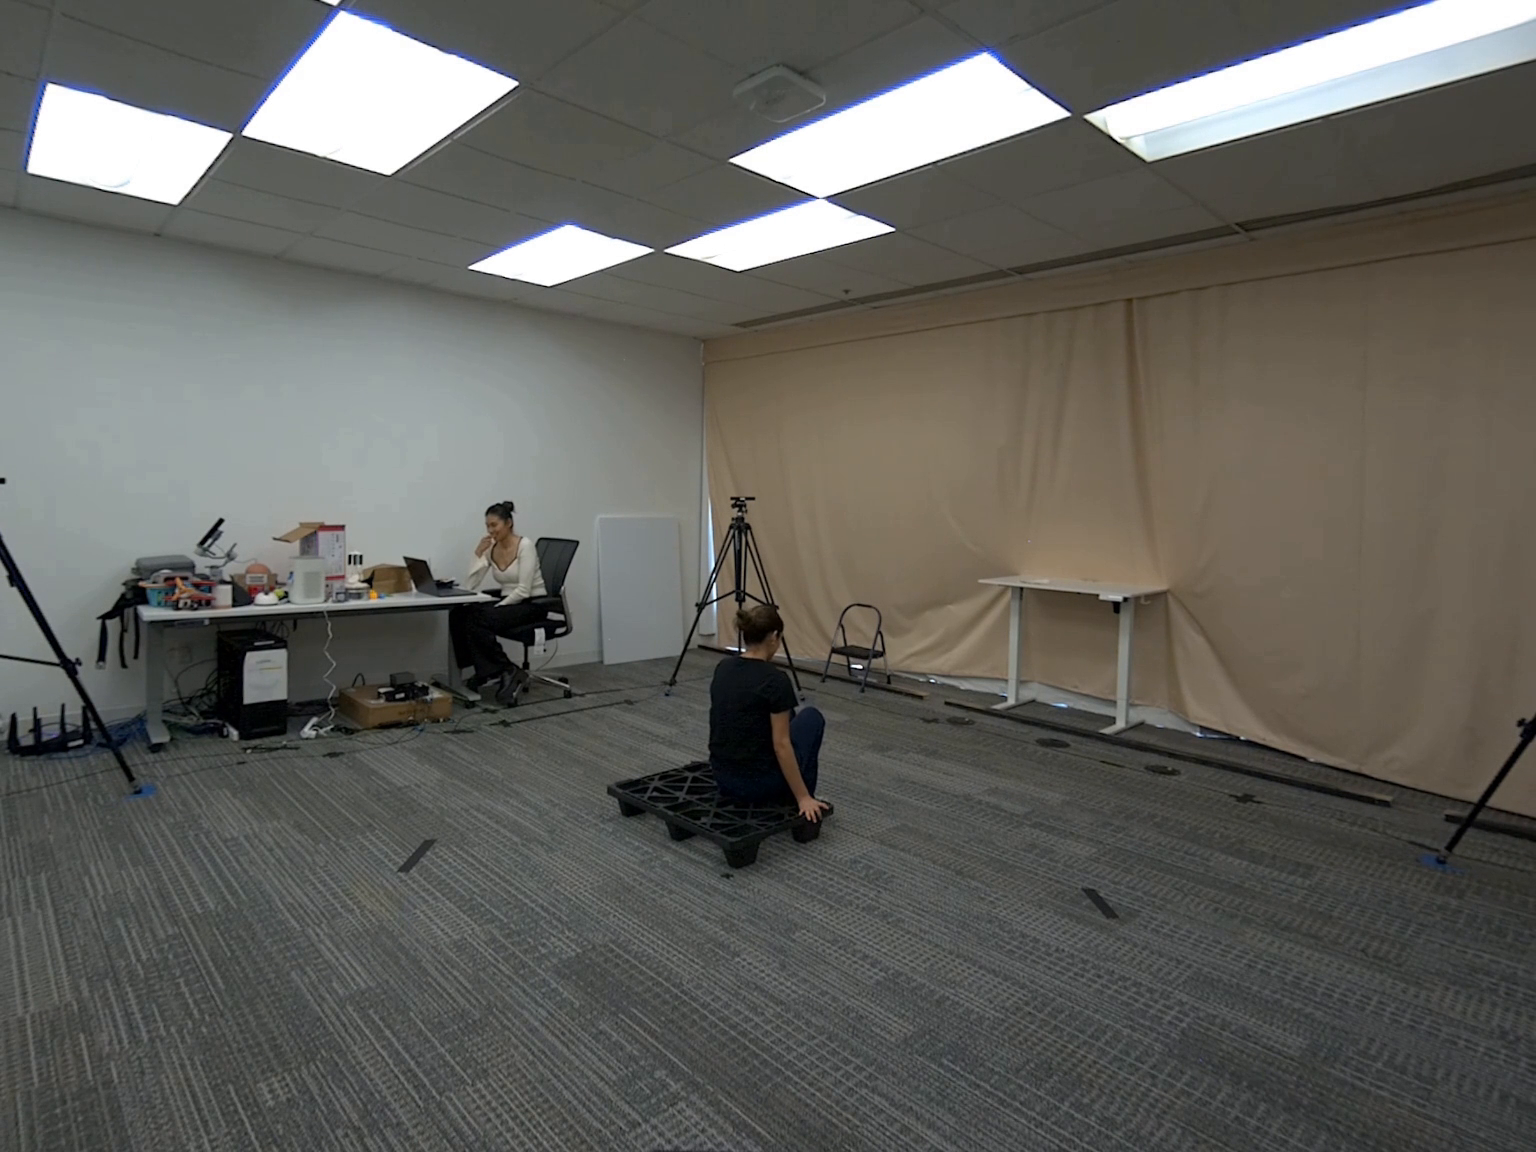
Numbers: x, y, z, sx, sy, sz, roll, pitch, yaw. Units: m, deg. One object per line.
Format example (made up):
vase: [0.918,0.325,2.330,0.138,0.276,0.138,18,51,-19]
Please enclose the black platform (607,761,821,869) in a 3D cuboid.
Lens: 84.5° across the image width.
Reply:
black platform: [-0.225,0.999,3.552,0.826,0.143,0.591,6,7,45]
